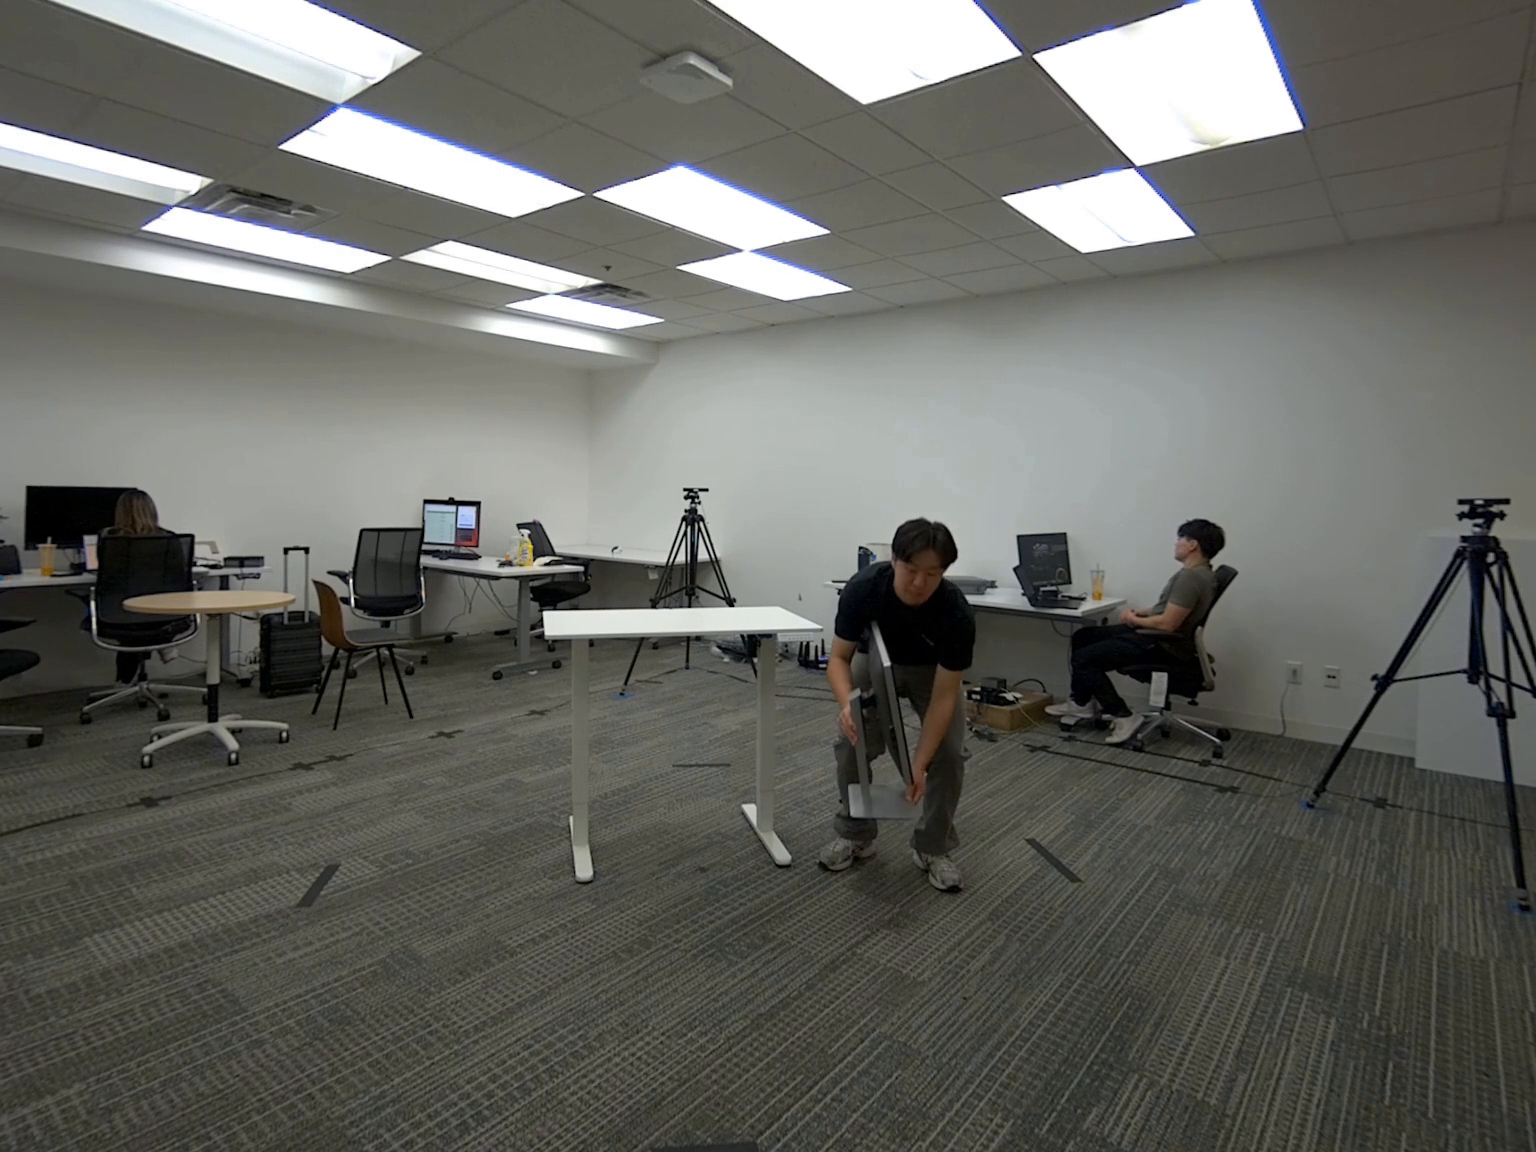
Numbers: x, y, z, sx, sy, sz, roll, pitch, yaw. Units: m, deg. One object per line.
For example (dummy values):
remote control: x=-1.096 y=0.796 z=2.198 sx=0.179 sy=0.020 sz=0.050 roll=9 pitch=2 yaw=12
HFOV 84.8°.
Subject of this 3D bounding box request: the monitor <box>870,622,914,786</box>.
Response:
monitor: x=0.355 y=0.472 z=2.702 sx=0.224 sy=0.562 sz=0.561 roll=3 pitch=8 yaw=7
